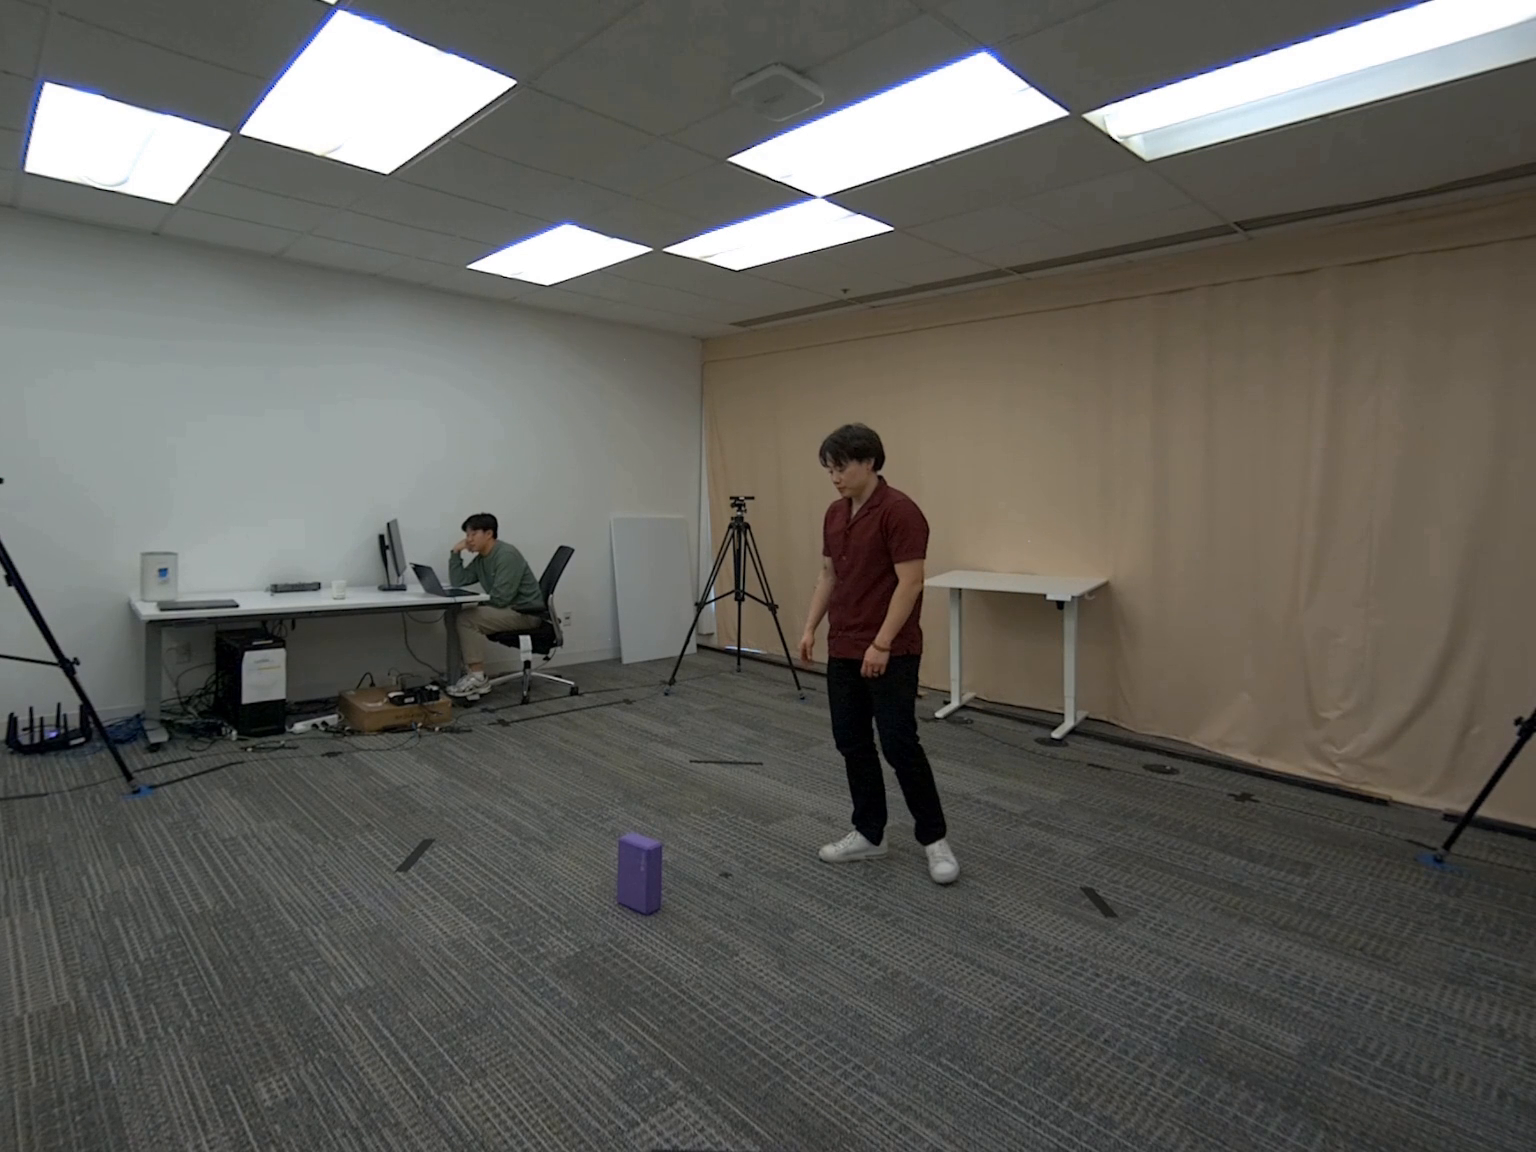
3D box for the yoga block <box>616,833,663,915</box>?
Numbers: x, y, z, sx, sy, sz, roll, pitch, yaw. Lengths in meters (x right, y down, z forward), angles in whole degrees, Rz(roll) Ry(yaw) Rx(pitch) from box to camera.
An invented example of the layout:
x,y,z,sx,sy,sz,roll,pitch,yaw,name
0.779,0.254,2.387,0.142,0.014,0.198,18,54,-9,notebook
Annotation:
x,y,z,sx,sy,sz,roll,pitch,yaw,name
-0.441,1.007,2.844,0.152,0.229,0.075,3,3,35,yoga block
